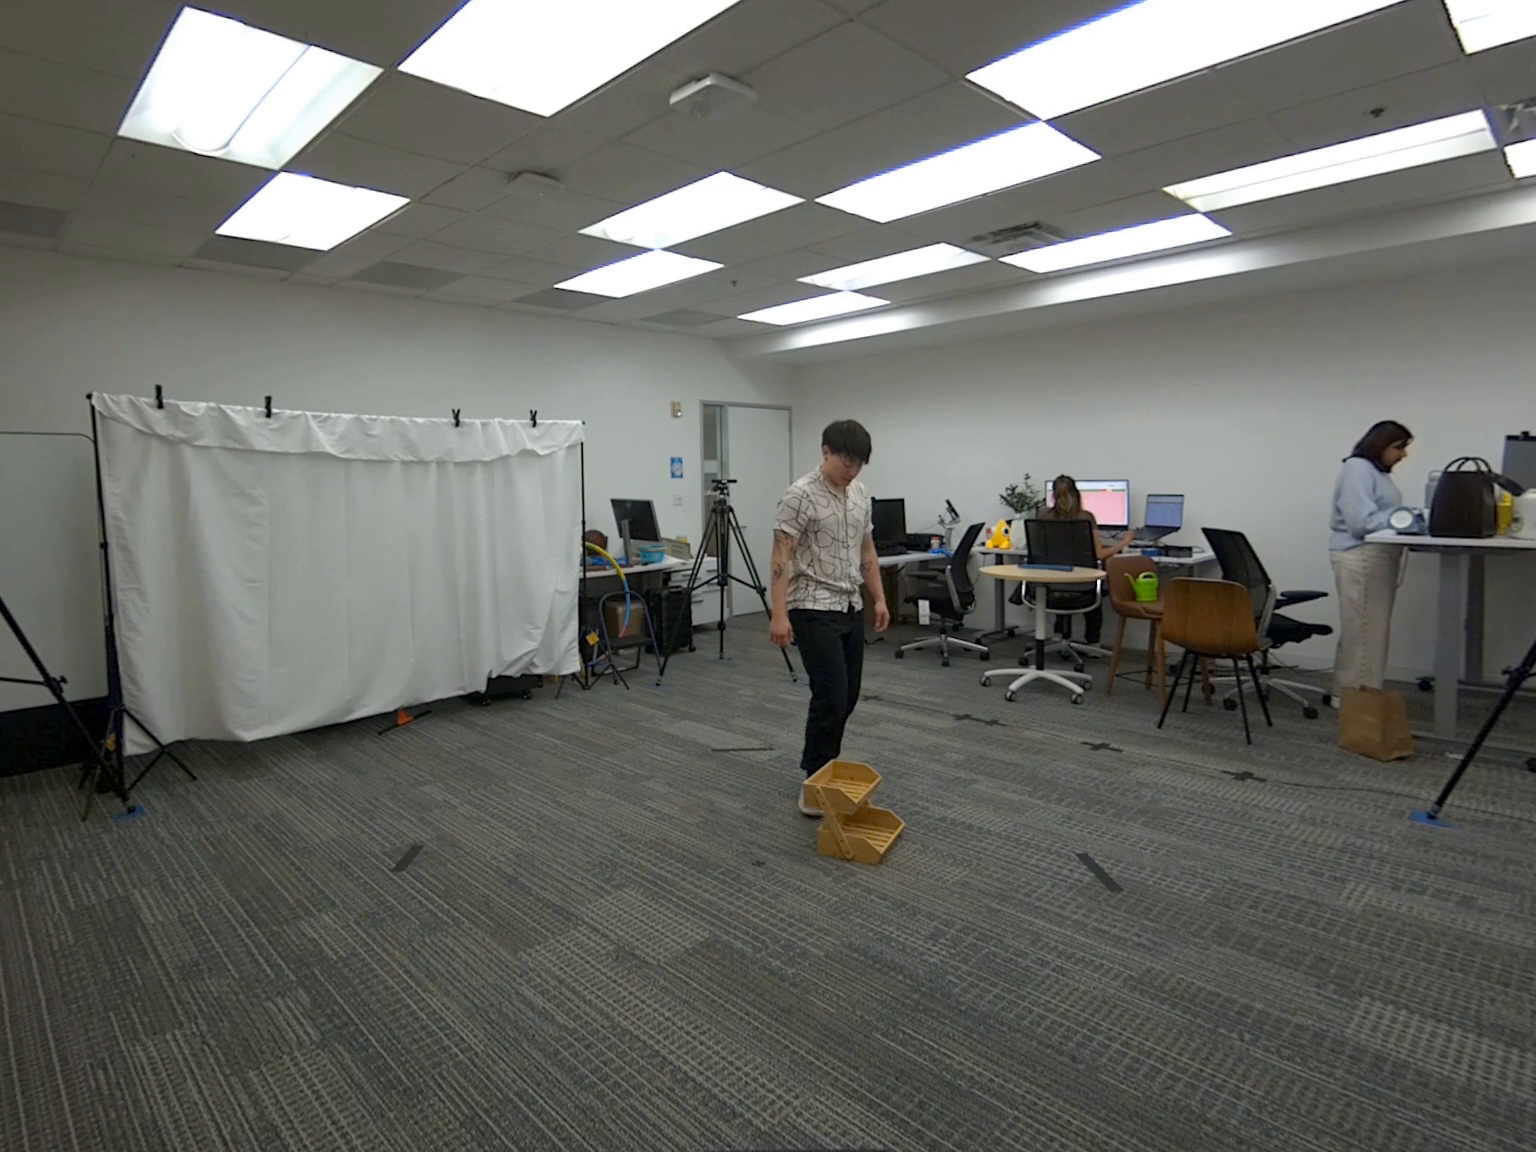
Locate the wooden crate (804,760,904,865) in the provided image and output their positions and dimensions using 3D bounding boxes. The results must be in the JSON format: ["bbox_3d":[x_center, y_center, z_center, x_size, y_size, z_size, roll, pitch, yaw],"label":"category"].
[{"bbox_3d":[0.337,0.894,3.269,0.309,0.272,0.318,1,5,27],"label":"wooden crate"}]
